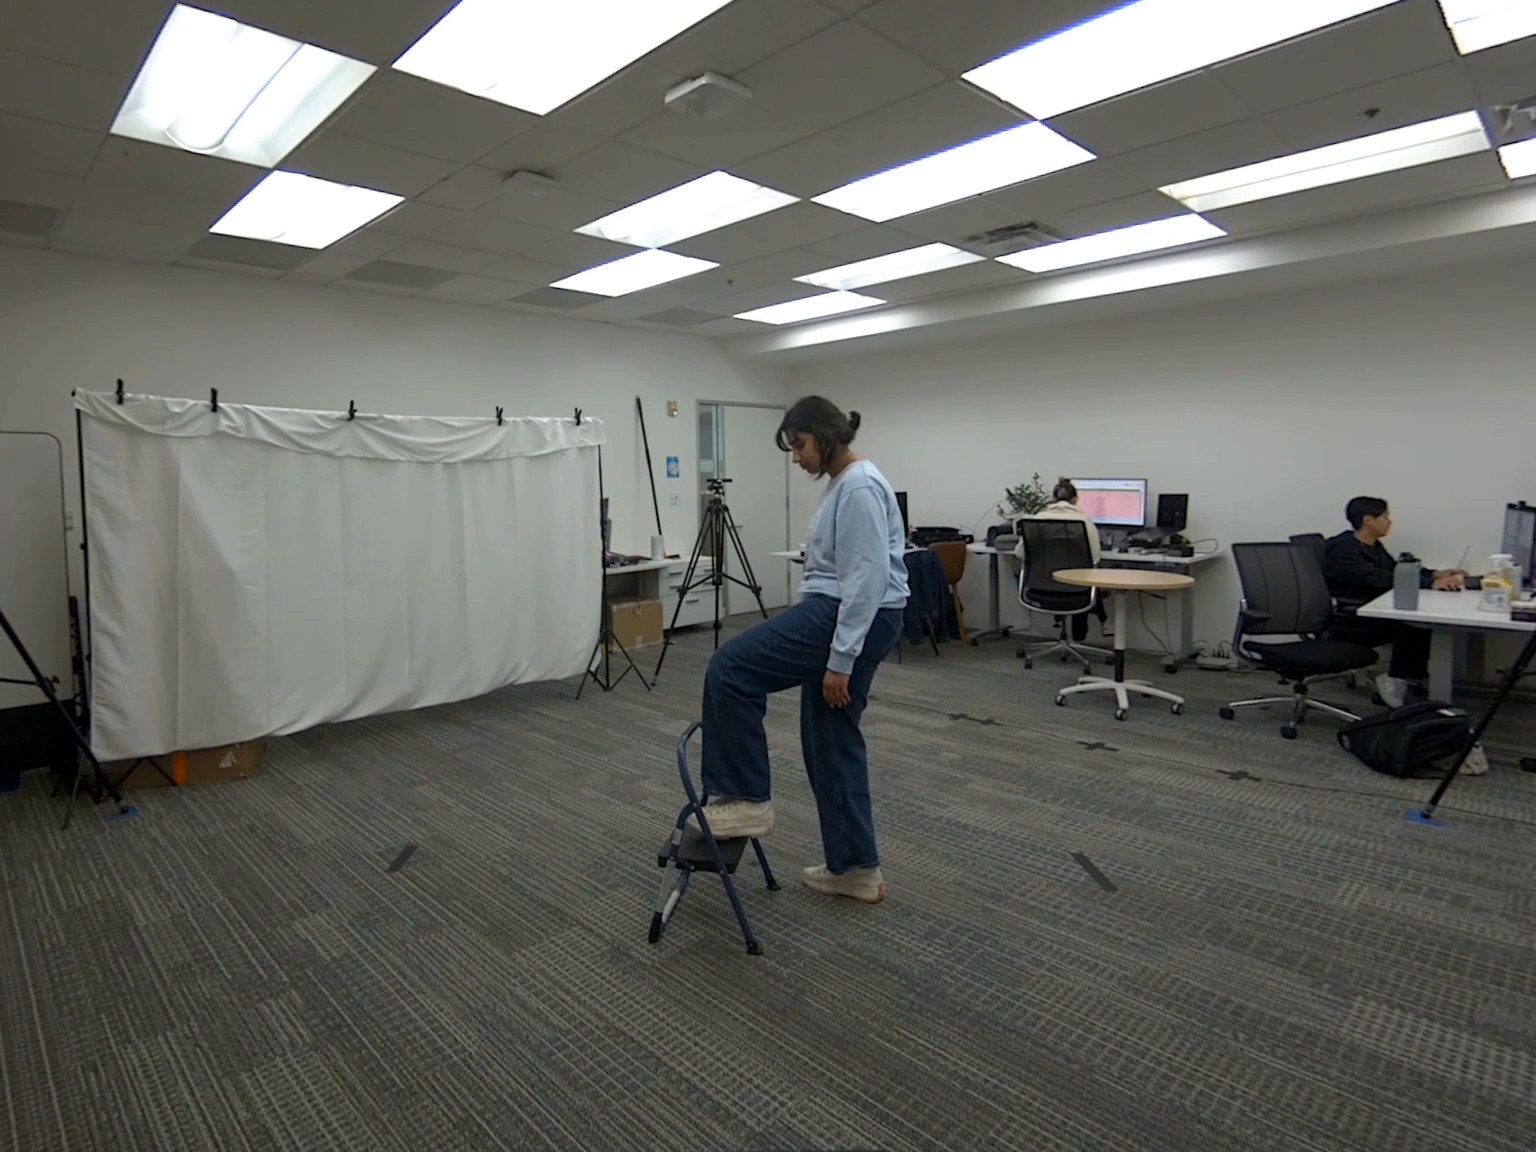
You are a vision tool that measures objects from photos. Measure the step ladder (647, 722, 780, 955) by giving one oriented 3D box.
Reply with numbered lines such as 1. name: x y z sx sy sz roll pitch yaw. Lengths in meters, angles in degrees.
1. step ladder: -0.166 0.791 2.730 0.353 0.604 0.428 0 4 9
